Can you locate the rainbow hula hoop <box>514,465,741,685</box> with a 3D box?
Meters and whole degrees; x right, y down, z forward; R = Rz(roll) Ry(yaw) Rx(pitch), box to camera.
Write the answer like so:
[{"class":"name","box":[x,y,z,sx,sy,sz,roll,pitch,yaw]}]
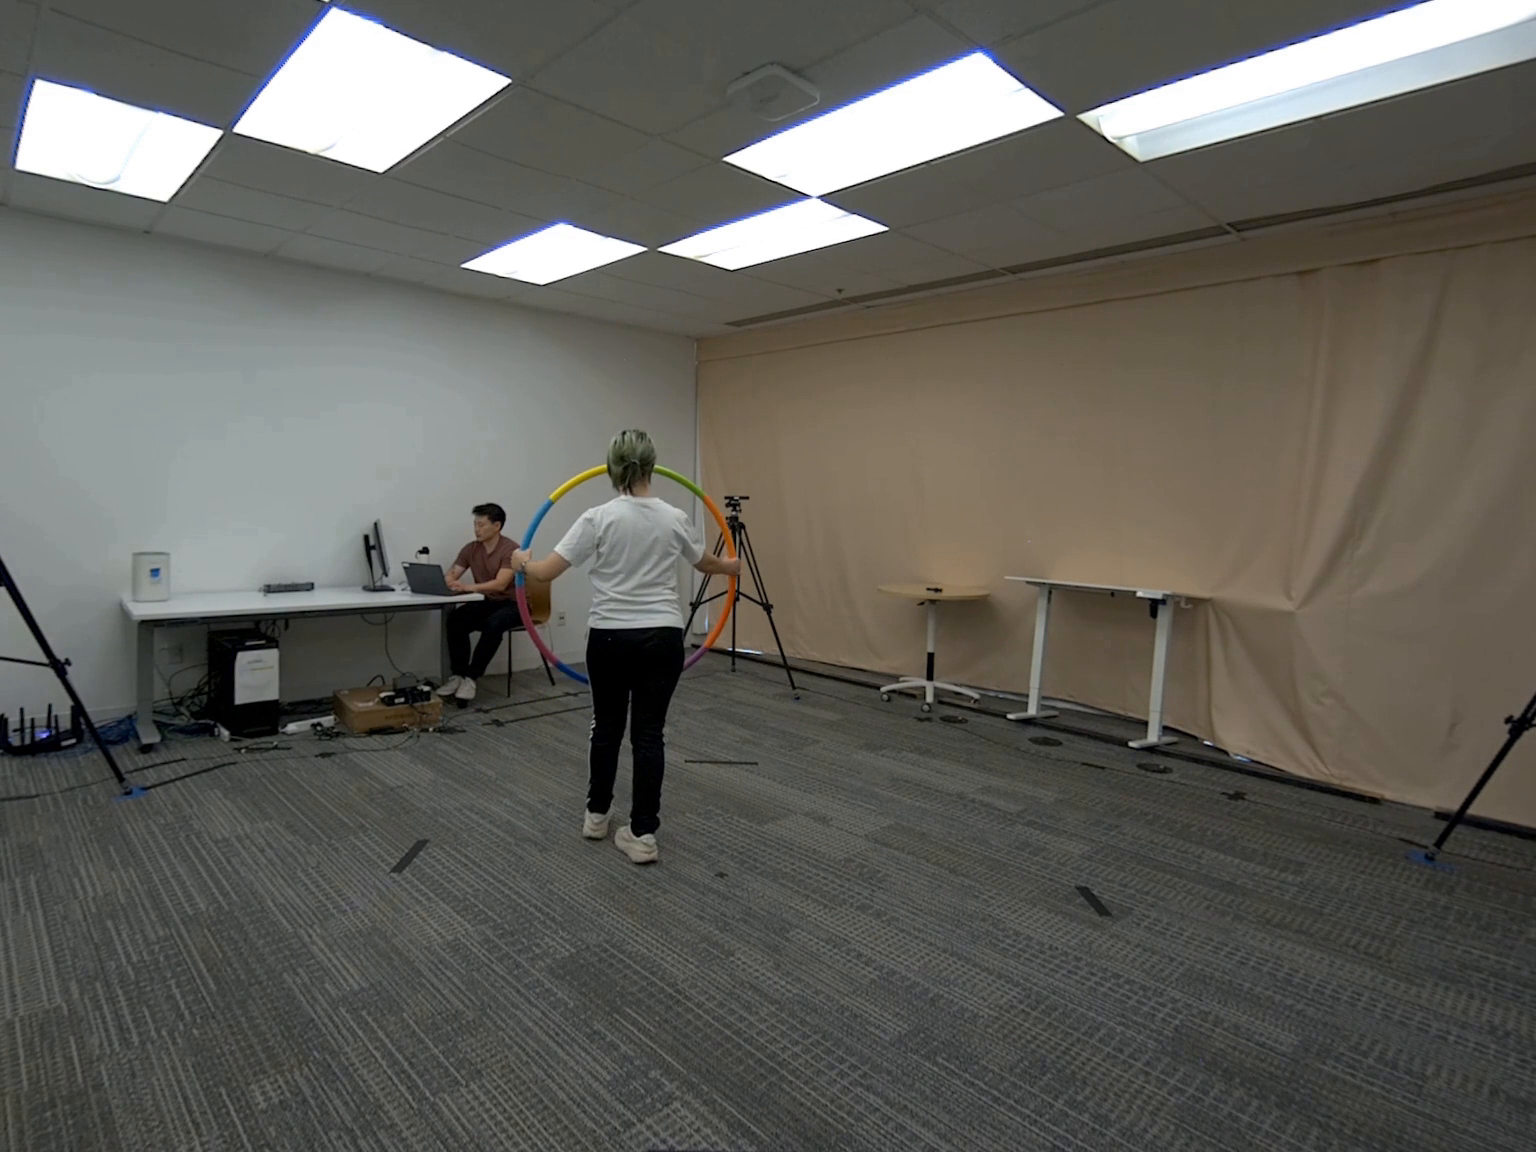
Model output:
[{"class":"rainbow hula hoop","box":[-0.579,0.010,3.606,0.961,0.975,0.036,-1,5,-25]}]
